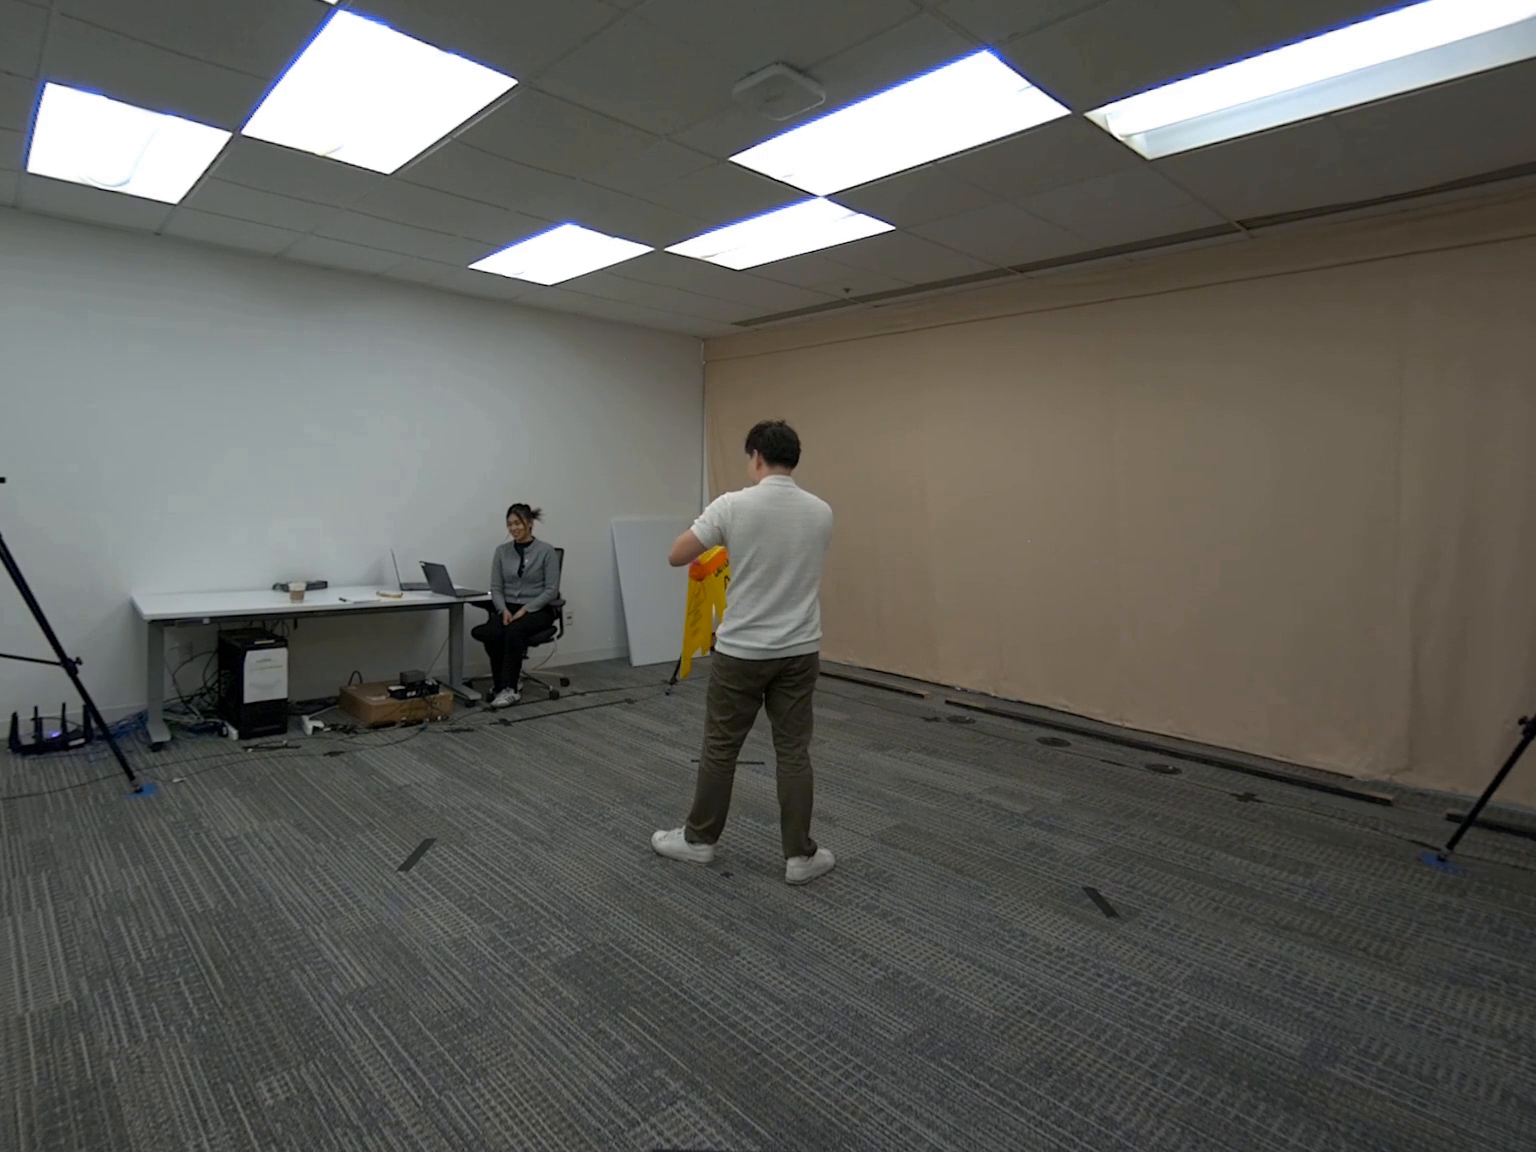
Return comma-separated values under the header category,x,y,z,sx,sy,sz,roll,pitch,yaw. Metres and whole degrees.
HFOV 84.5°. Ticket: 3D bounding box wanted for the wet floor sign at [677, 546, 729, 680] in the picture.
category,x,y,z,sx,sy,sz,roll,pitch,yaw
wet floor sign,-0.221,0.111,3.479,0.295,0.635,0.282,4,24,23
